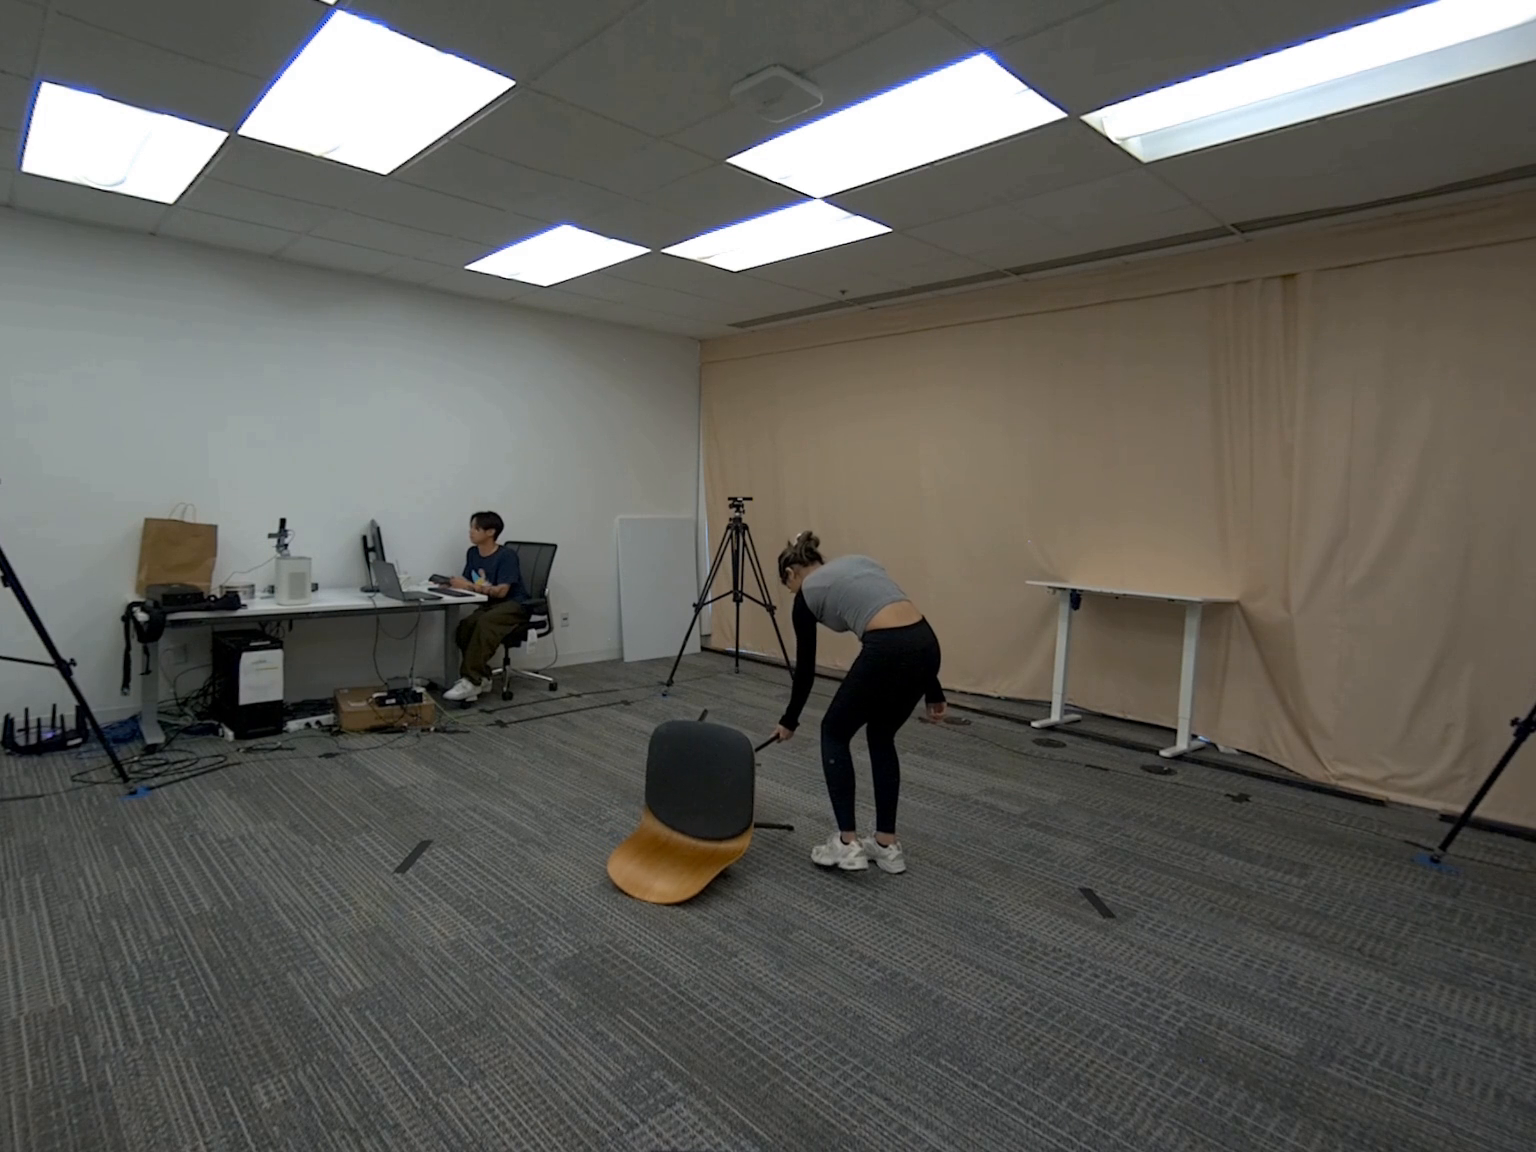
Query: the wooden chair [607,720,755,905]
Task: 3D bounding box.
[{"bbox_3d":[-0.258,0.831,3.274,0.487,0.521,0.864,4,6,24],"label":"wooden chair"}]
